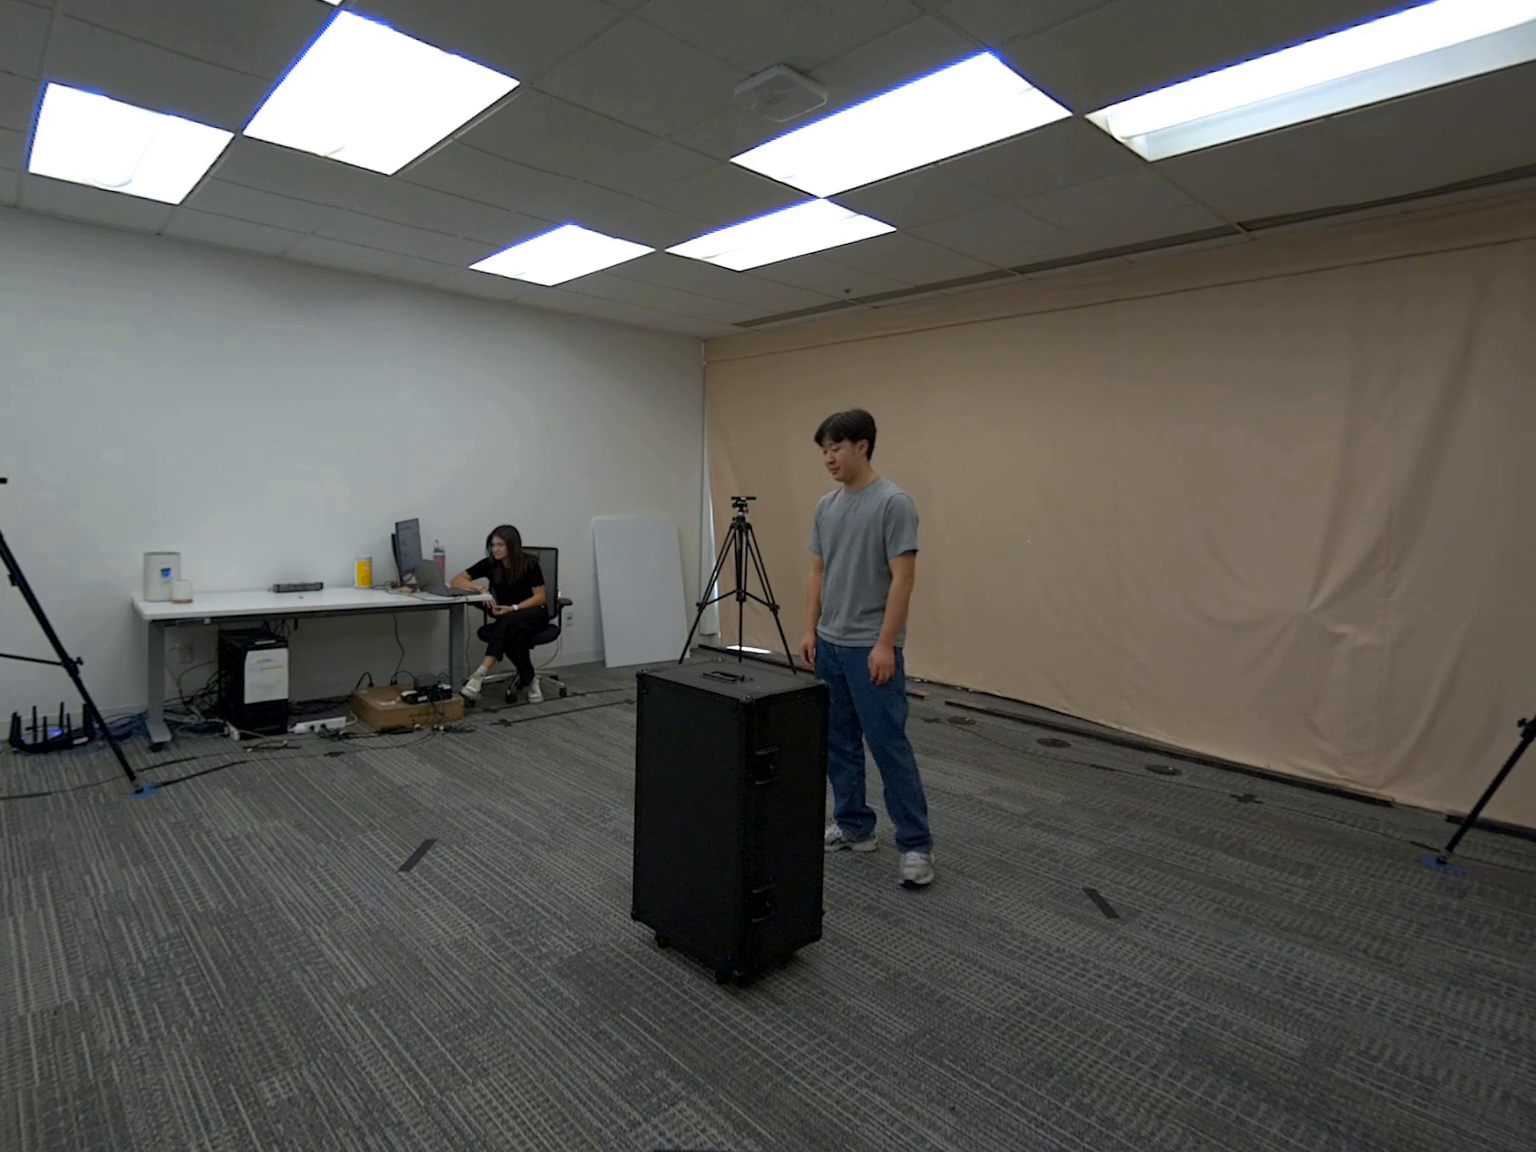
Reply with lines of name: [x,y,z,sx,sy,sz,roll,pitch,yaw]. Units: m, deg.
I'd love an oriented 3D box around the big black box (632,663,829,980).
big black box: [-0.122,0.729,2.571,0.534,0.860,0.387,5,4,44]
